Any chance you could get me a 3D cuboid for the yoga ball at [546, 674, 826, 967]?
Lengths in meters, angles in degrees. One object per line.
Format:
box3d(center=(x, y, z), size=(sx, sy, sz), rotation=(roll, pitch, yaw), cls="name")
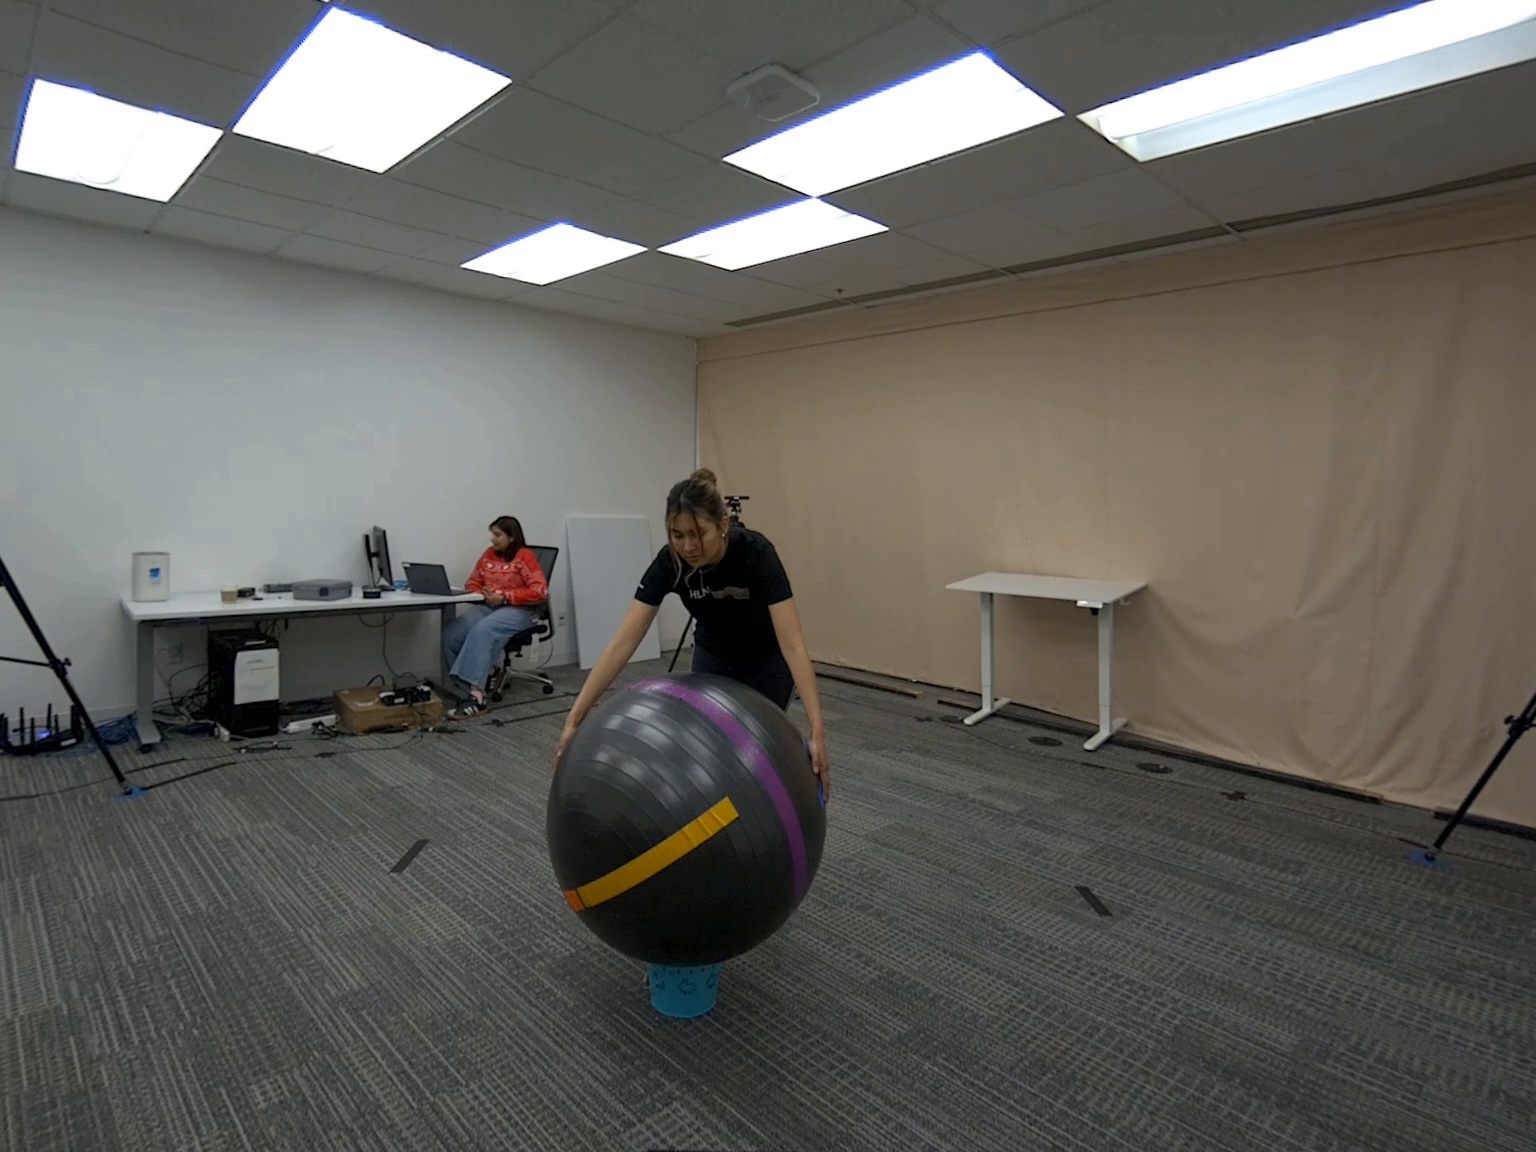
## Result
box3d(center=(-0.218, 0.647, 2.284), size=(0.757, 0.756, 0.761), rotation=(1, 4, -1), cls="yoga ball")
